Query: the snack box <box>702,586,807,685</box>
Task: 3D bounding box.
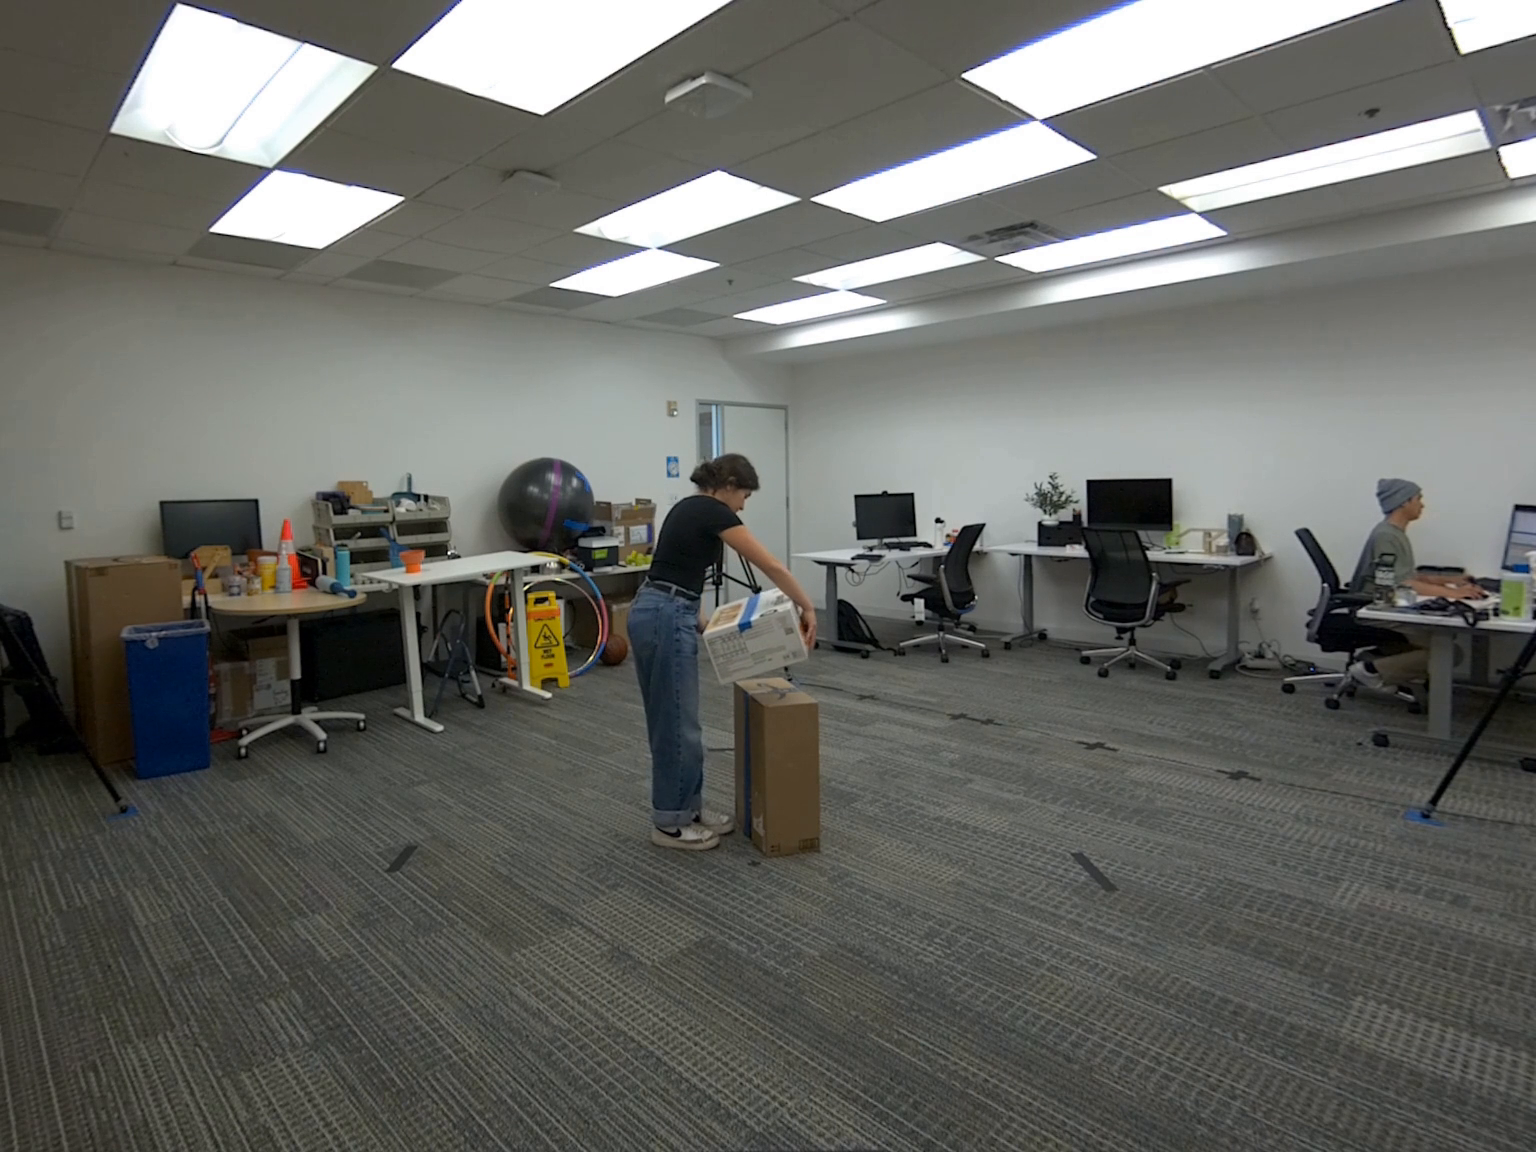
[{"bbox_3d":[-0.035,0.210,3.272,0.343,0.204,0.406,-17,10,11],"label":"snack box"}]
